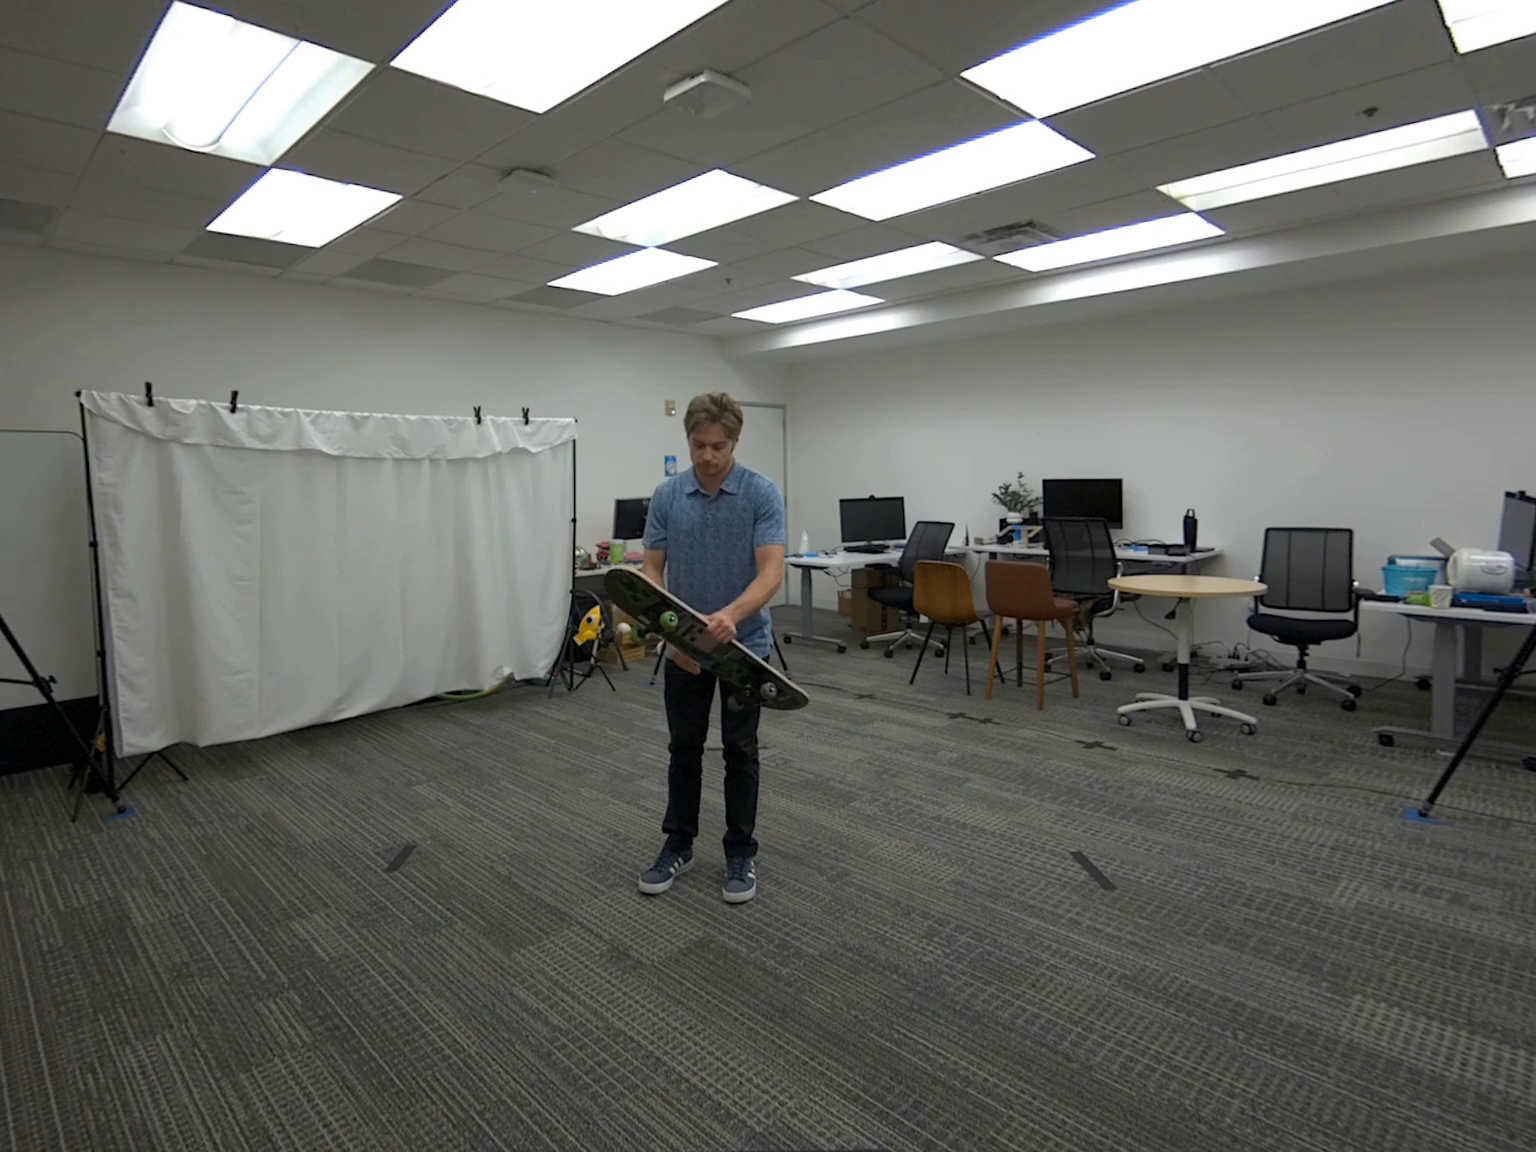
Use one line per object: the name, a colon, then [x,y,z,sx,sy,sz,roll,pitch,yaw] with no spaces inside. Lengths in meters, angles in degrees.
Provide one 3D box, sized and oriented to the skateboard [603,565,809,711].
skateboard: [-0.185,0.243,2.548,0.763,0.112,0.196,39,-42,-24]
